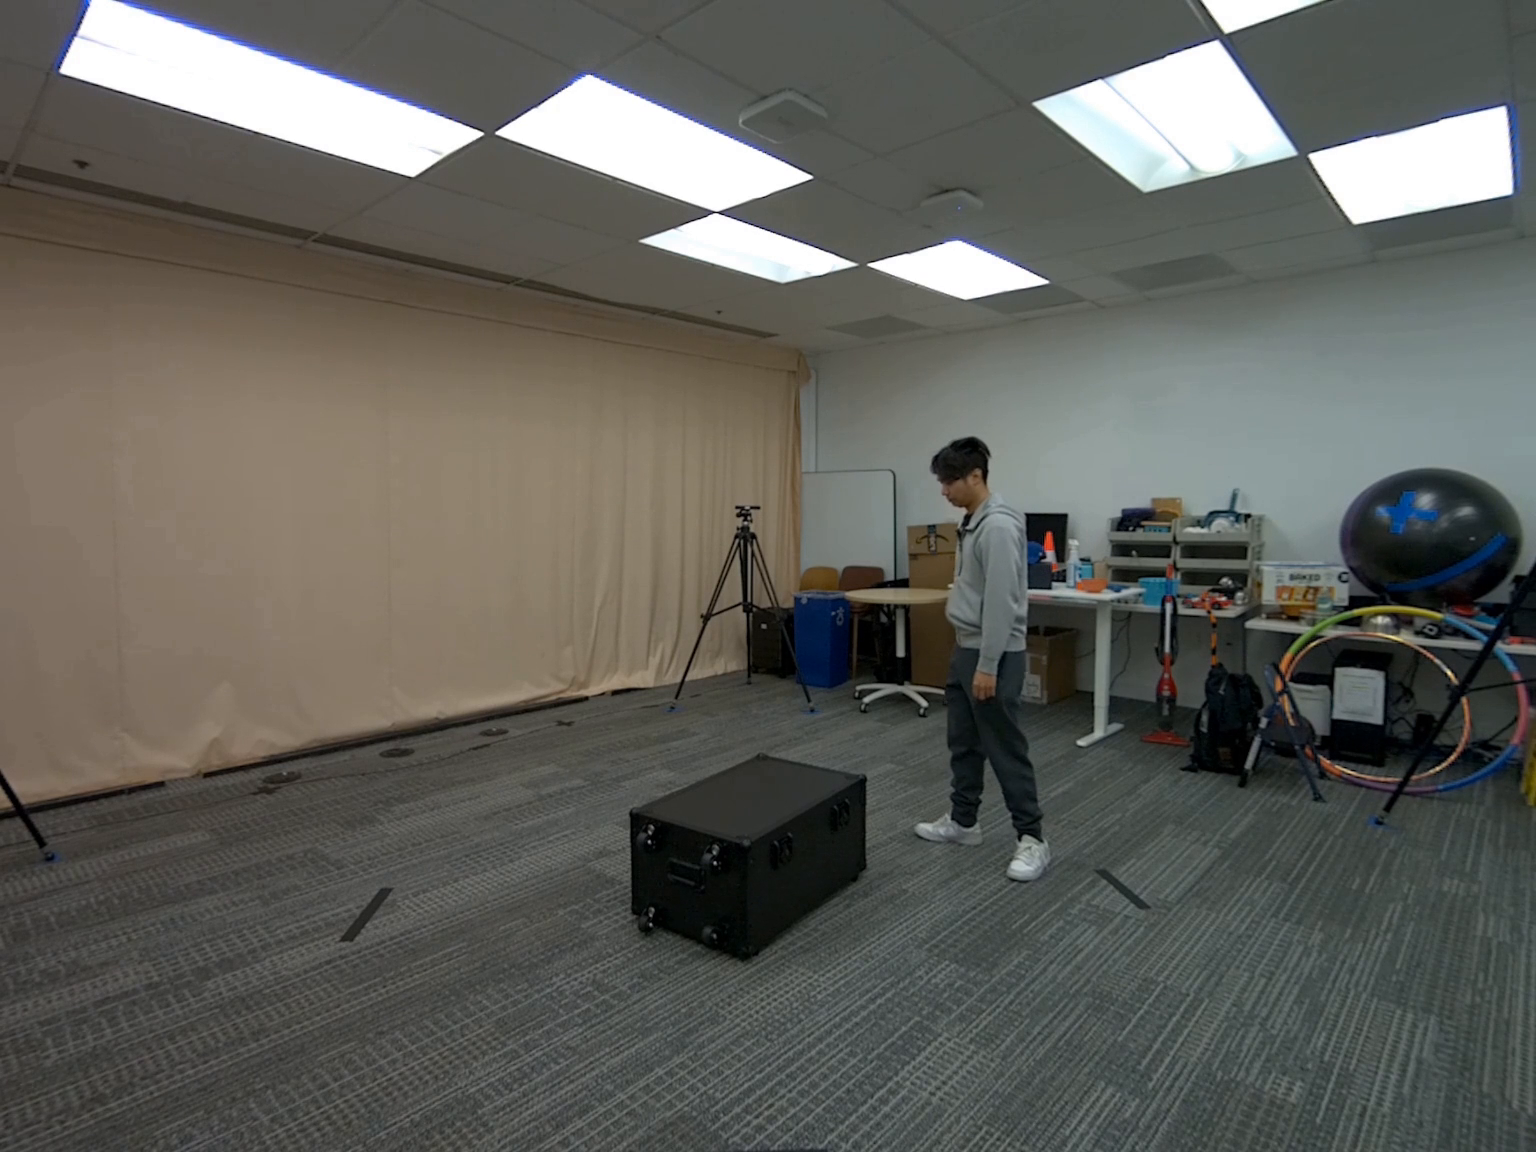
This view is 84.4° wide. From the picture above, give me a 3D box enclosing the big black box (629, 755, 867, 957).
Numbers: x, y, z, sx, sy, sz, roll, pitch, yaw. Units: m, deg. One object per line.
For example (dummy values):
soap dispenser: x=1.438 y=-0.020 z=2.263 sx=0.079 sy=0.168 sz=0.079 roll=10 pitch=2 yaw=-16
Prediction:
big black box: x=-0.063 y=0.954 z=2.970 sx=0.537 sy=0.395 sz=0.837 roll=3 pitch=5 yaw=34
